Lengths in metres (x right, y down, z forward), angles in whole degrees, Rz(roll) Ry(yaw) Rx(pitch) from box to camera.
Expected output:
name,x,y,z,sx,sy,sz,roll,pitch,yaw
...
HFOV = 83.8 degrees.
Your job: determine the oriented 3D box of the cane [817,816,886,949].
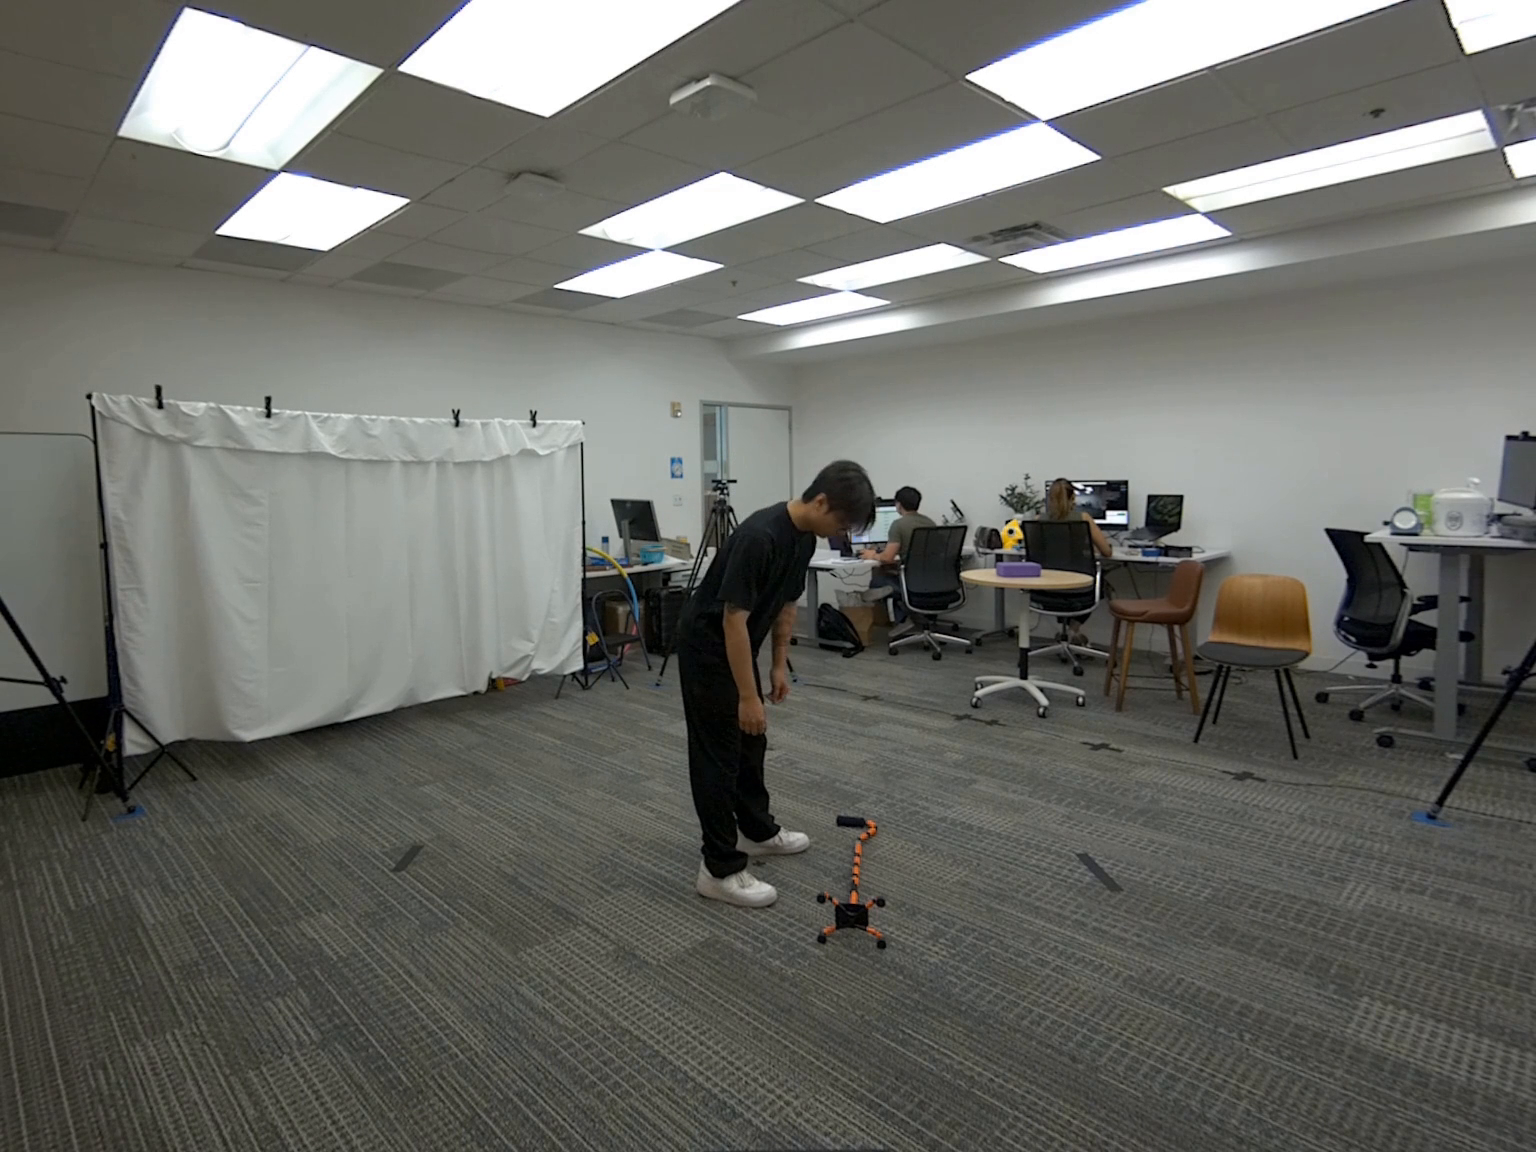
name,x,y,z,sx,sy,sz,roll,pitch,yaw
cane,0.312,0.998,2.997,0.208,0.151,0.901,1,3,7
